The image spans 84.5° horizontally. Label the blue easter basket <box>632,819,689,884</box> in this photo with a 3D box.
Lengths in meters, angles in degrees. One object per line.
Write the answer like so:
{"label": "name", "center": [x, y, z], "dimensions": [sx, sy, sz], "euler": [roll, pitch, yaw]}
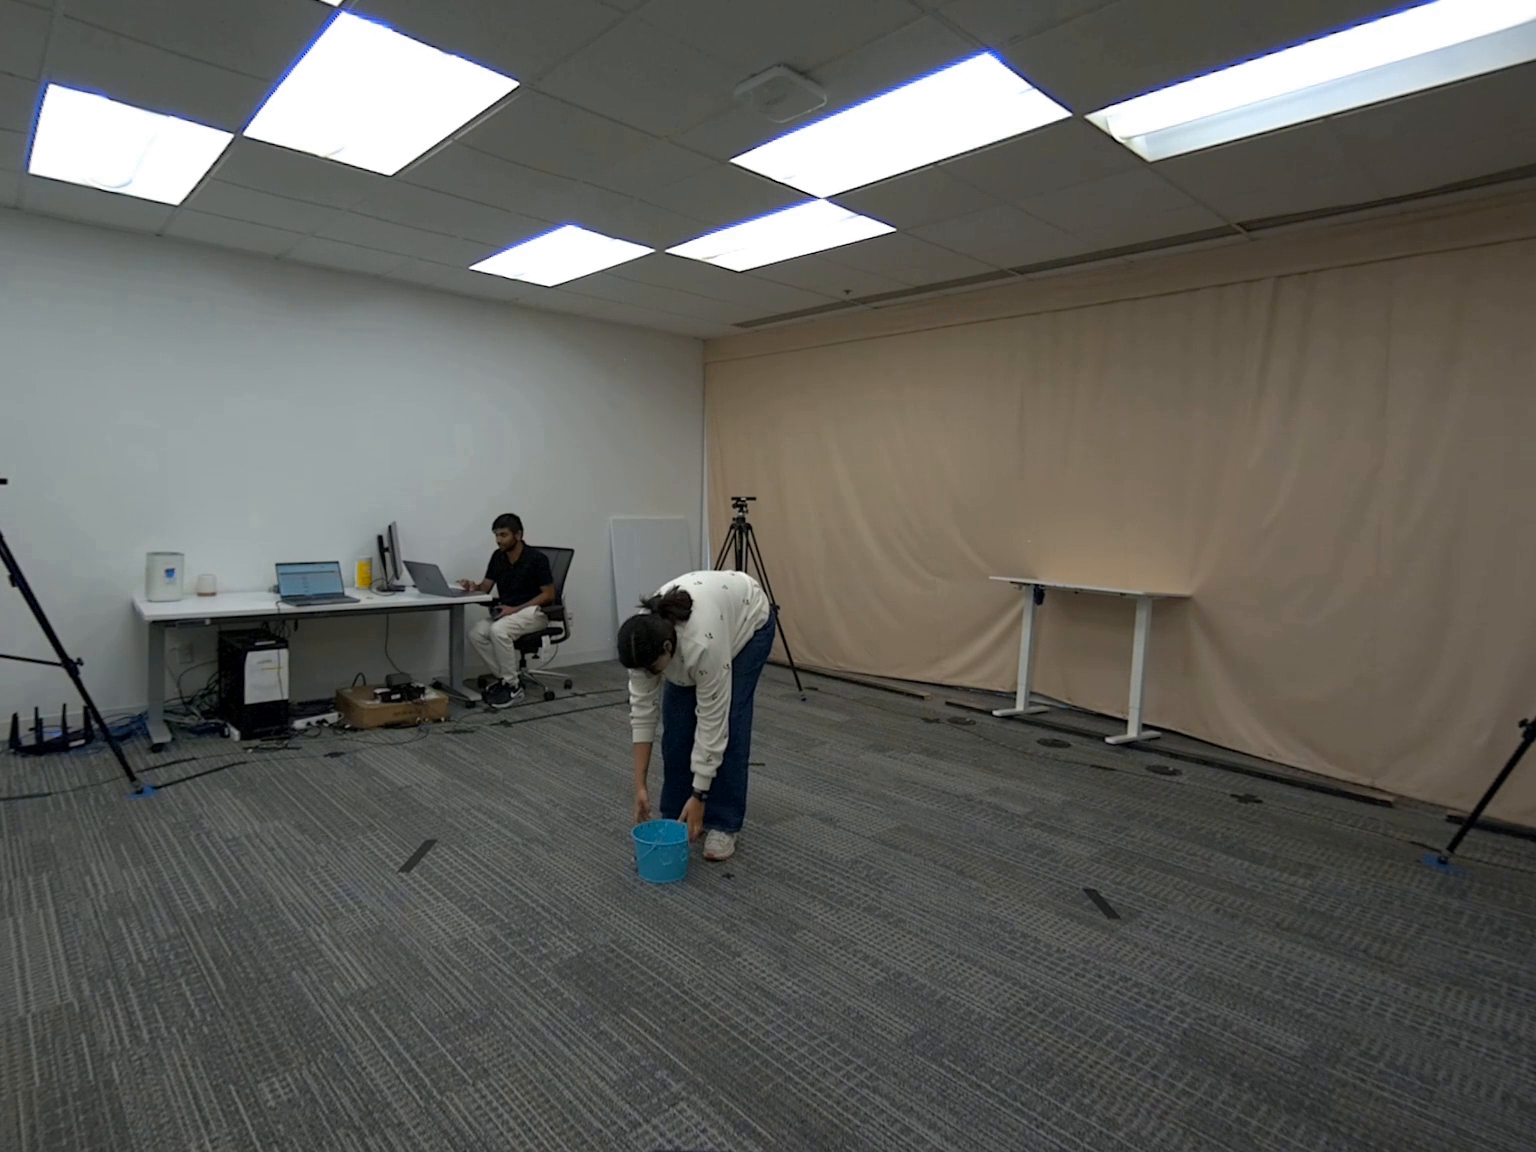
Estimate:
{"label": "blue easter basket", "center": [-0.403, 1.022, 3.125], "dimensions": [0.243, 0.155, 0.244], "euler": [1, 5, -1]}
